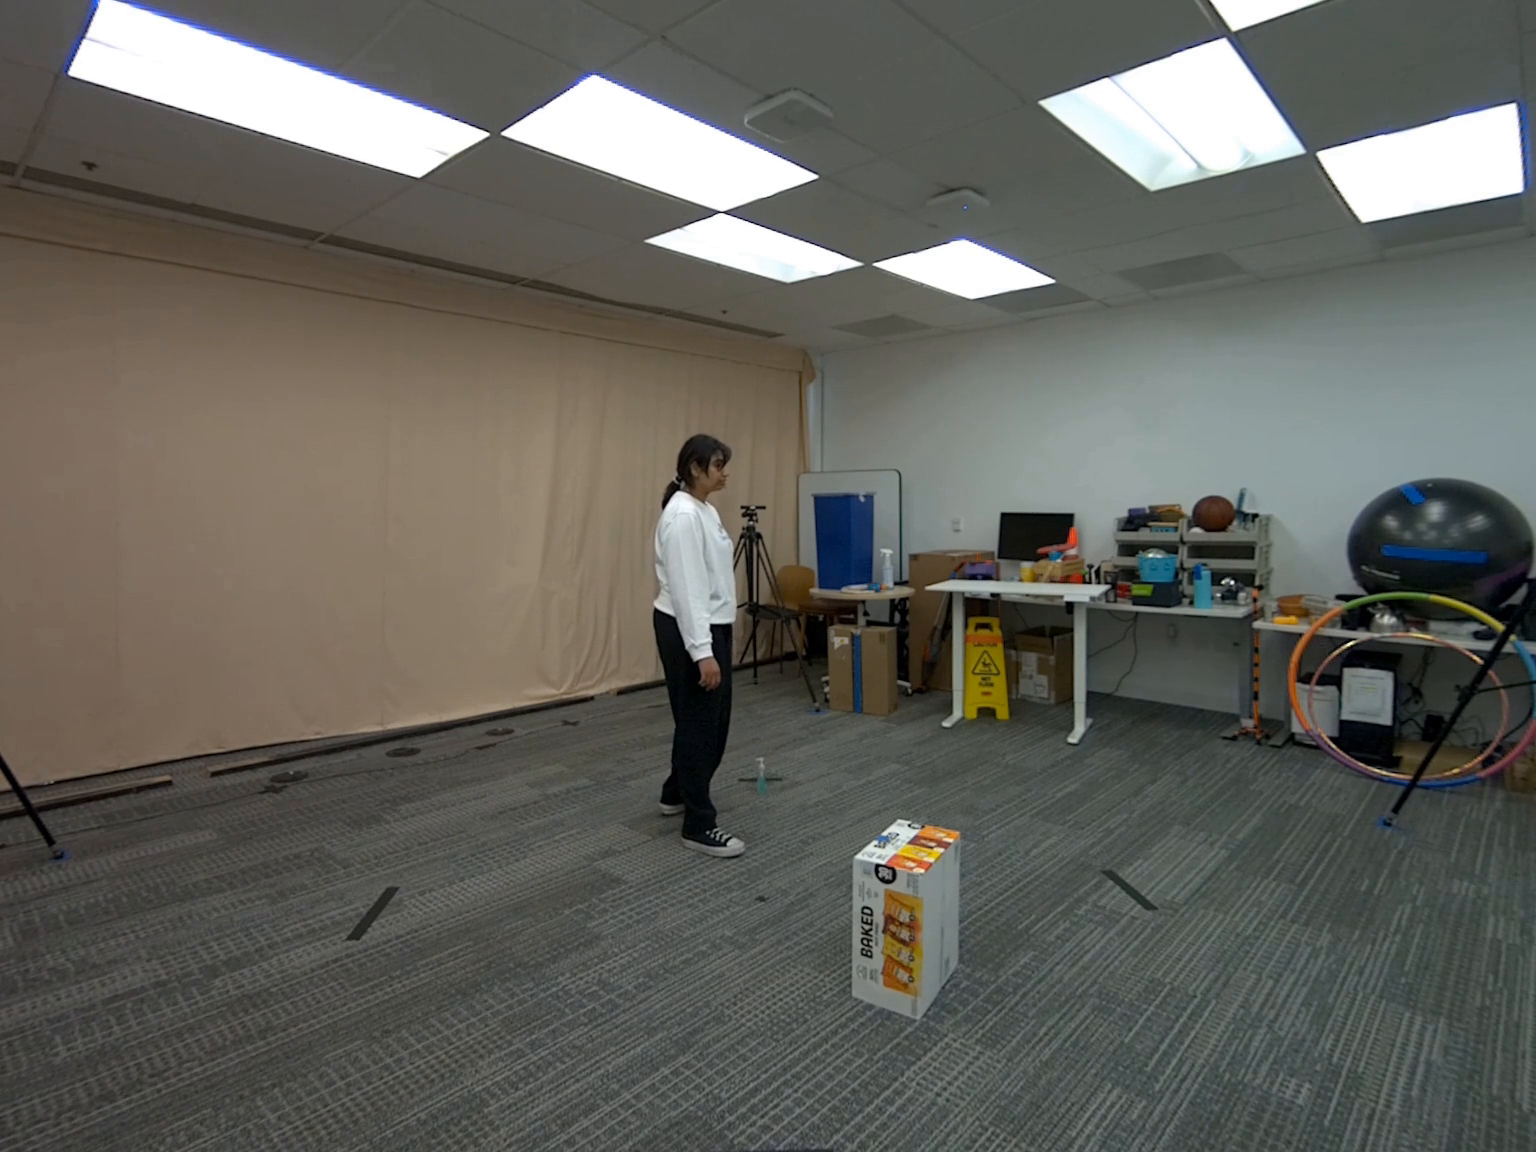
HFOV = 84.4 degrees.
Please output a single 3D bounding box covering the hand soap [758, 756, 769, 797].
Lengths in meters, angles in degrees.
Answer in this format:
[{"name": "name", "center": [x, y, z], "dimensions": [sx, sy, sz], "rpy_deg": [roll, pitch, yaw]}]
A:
[{"name": "hand soap", "center": [-0.026, 0.972, 4.115], "dimensions": [0.043, 0.167, 0.085], "rpy_deg": [-1, 5, -1]}]
